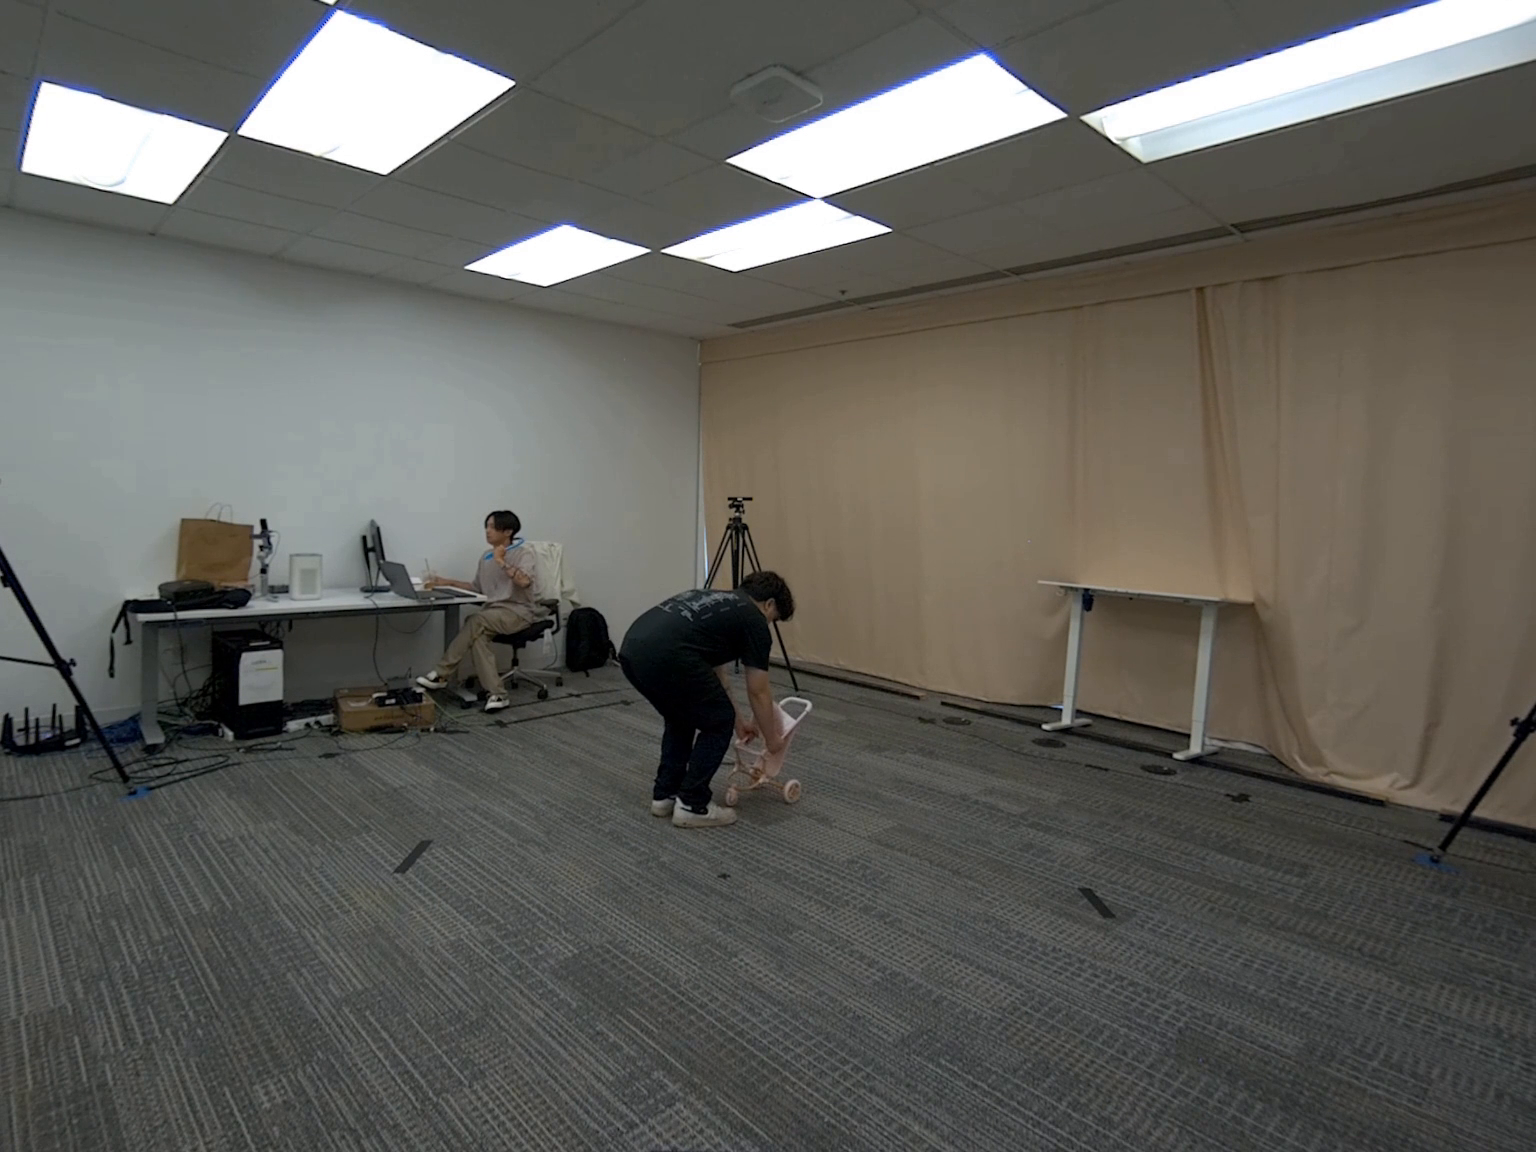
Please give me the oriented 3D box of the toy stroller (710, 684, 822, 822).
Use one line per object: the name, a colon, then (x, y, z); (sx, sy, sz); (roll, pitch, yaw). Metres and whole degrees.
toy stroller: (-0.029, 0.820, 3.943); (0.332, 0.537, 0.288); (17, -7, -36)
